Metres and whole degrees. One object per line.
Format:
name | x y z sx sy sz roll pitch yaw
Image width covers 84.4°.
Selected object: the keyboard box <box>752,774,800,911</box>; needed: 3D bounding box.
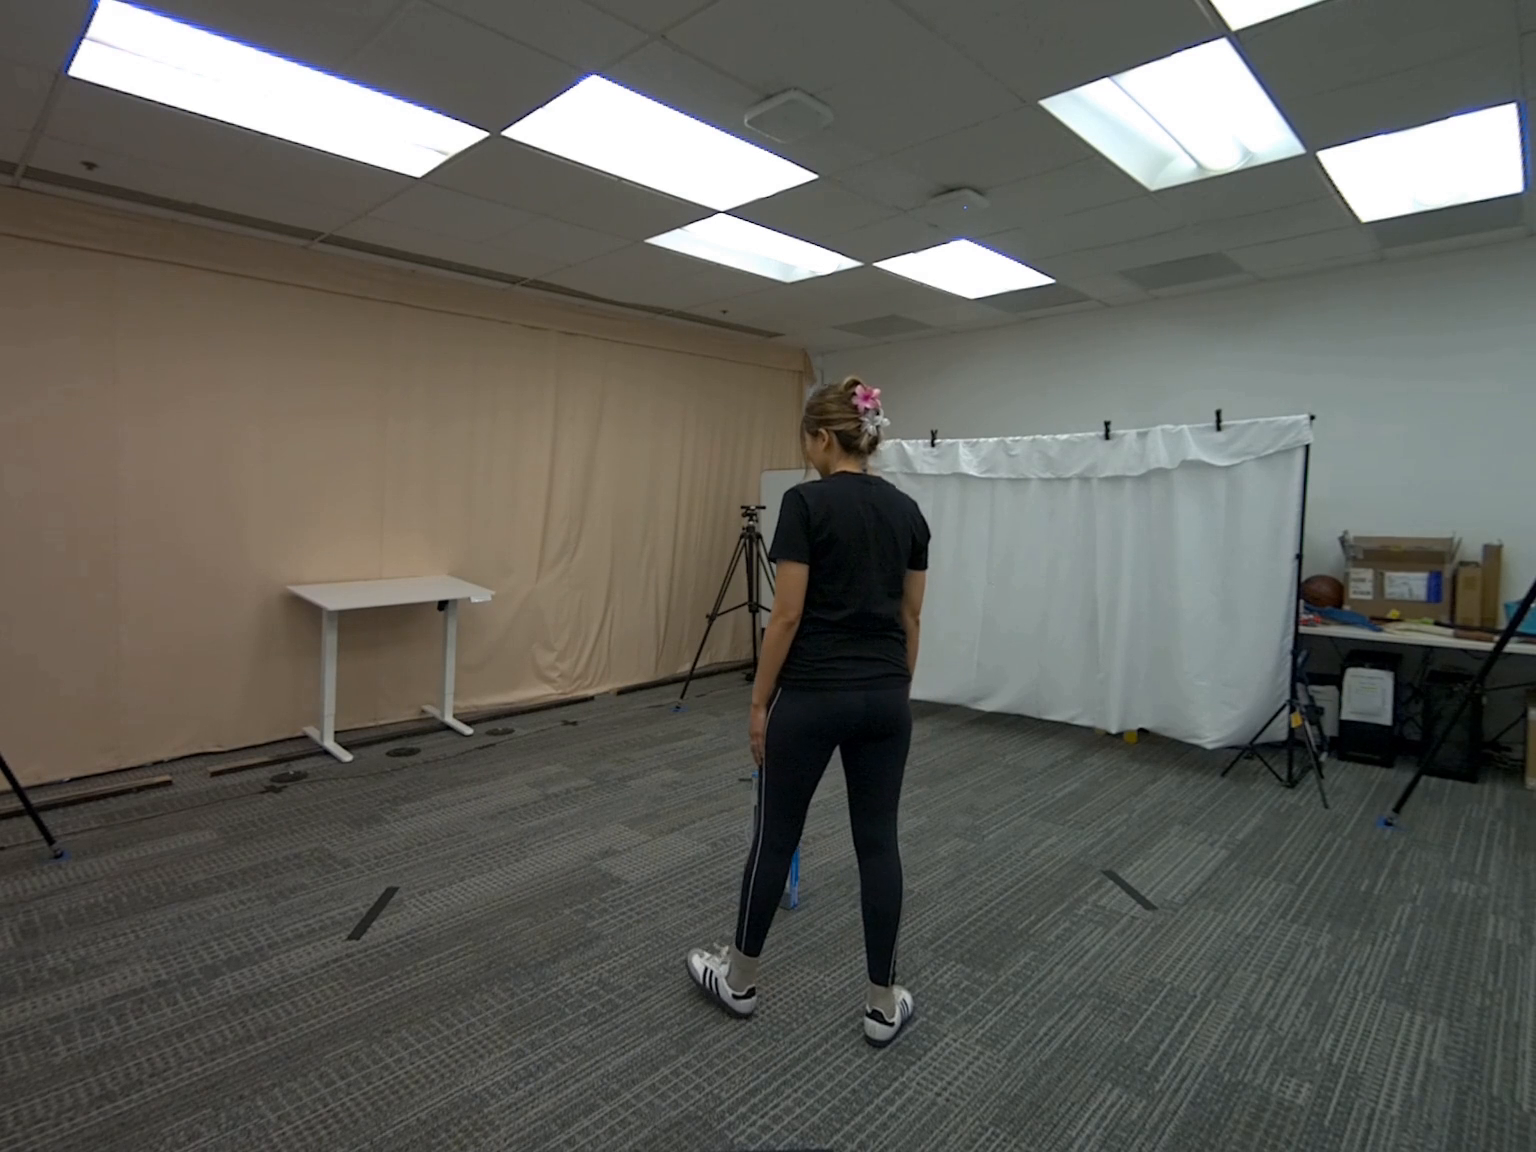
keyboard box | 0.027 0.925 2.963 0.181 0.437 0.057 2 0 33
